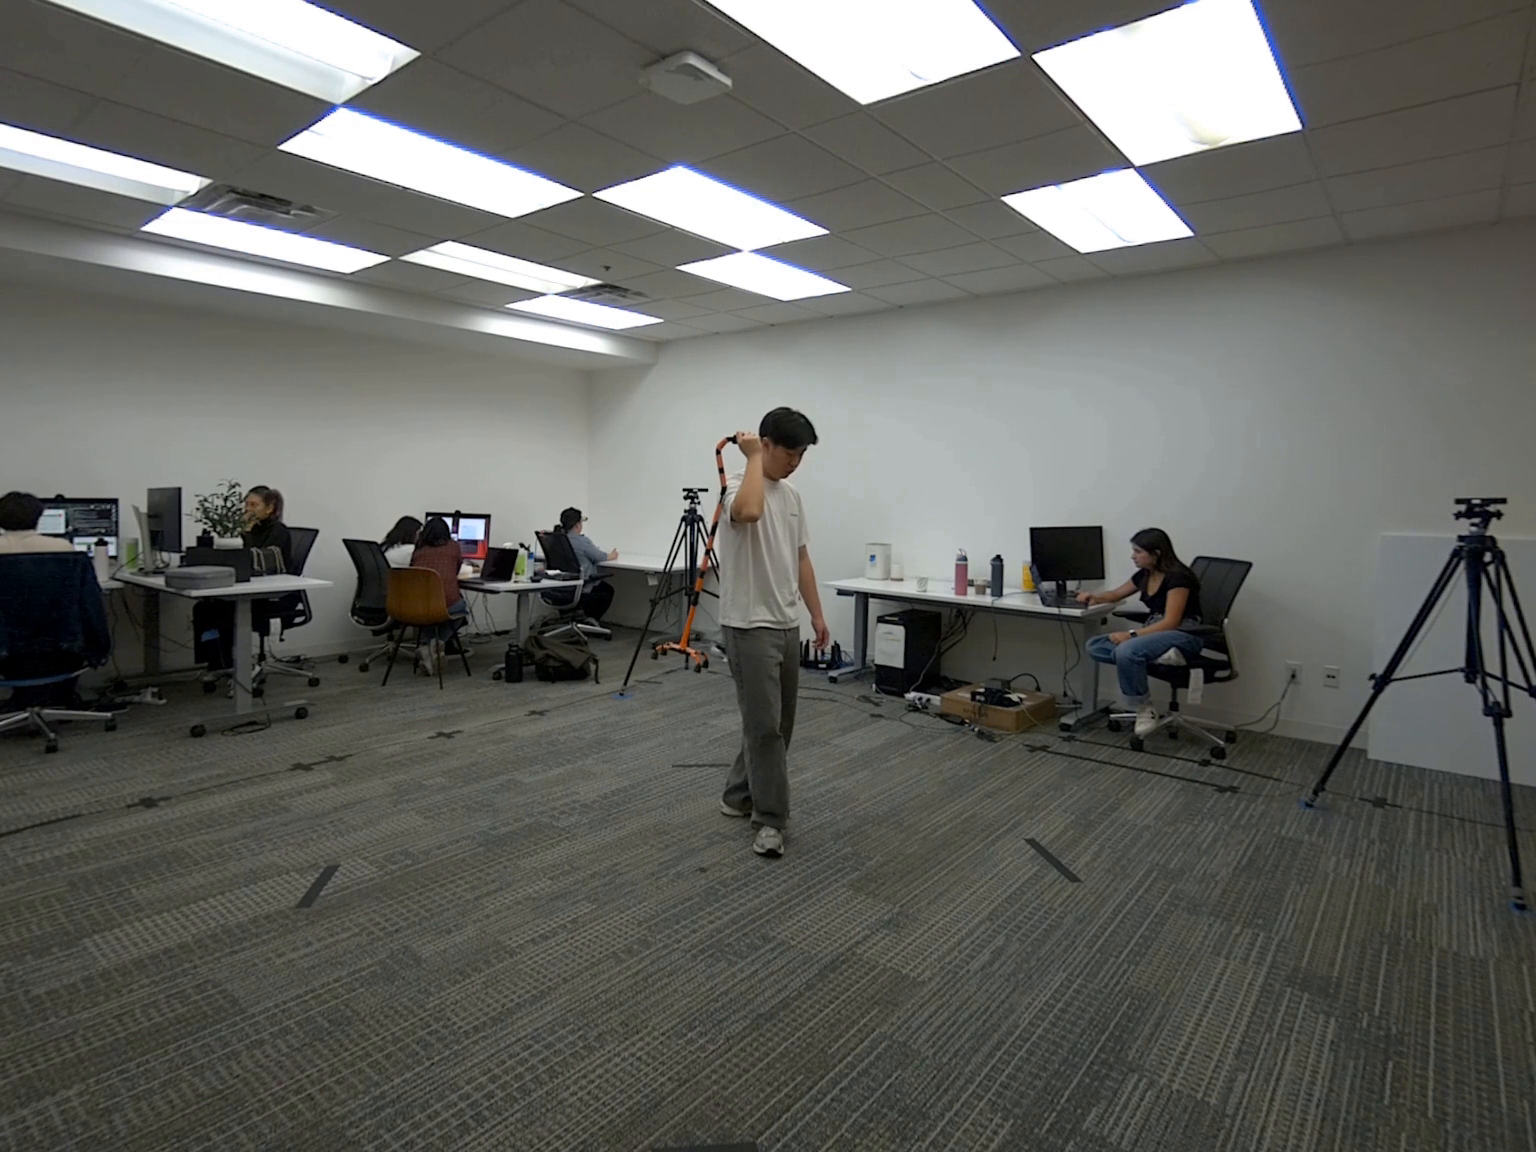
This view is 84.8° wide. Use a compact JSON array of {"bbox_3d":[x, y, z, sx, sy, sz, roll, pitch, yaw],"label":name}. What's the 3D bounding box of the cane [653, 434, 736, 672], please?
[{"bbox_3d":[-0.231,-0.103,3.281,0.210,0.905,0.149,14,4,14],"label":"cane"}]
